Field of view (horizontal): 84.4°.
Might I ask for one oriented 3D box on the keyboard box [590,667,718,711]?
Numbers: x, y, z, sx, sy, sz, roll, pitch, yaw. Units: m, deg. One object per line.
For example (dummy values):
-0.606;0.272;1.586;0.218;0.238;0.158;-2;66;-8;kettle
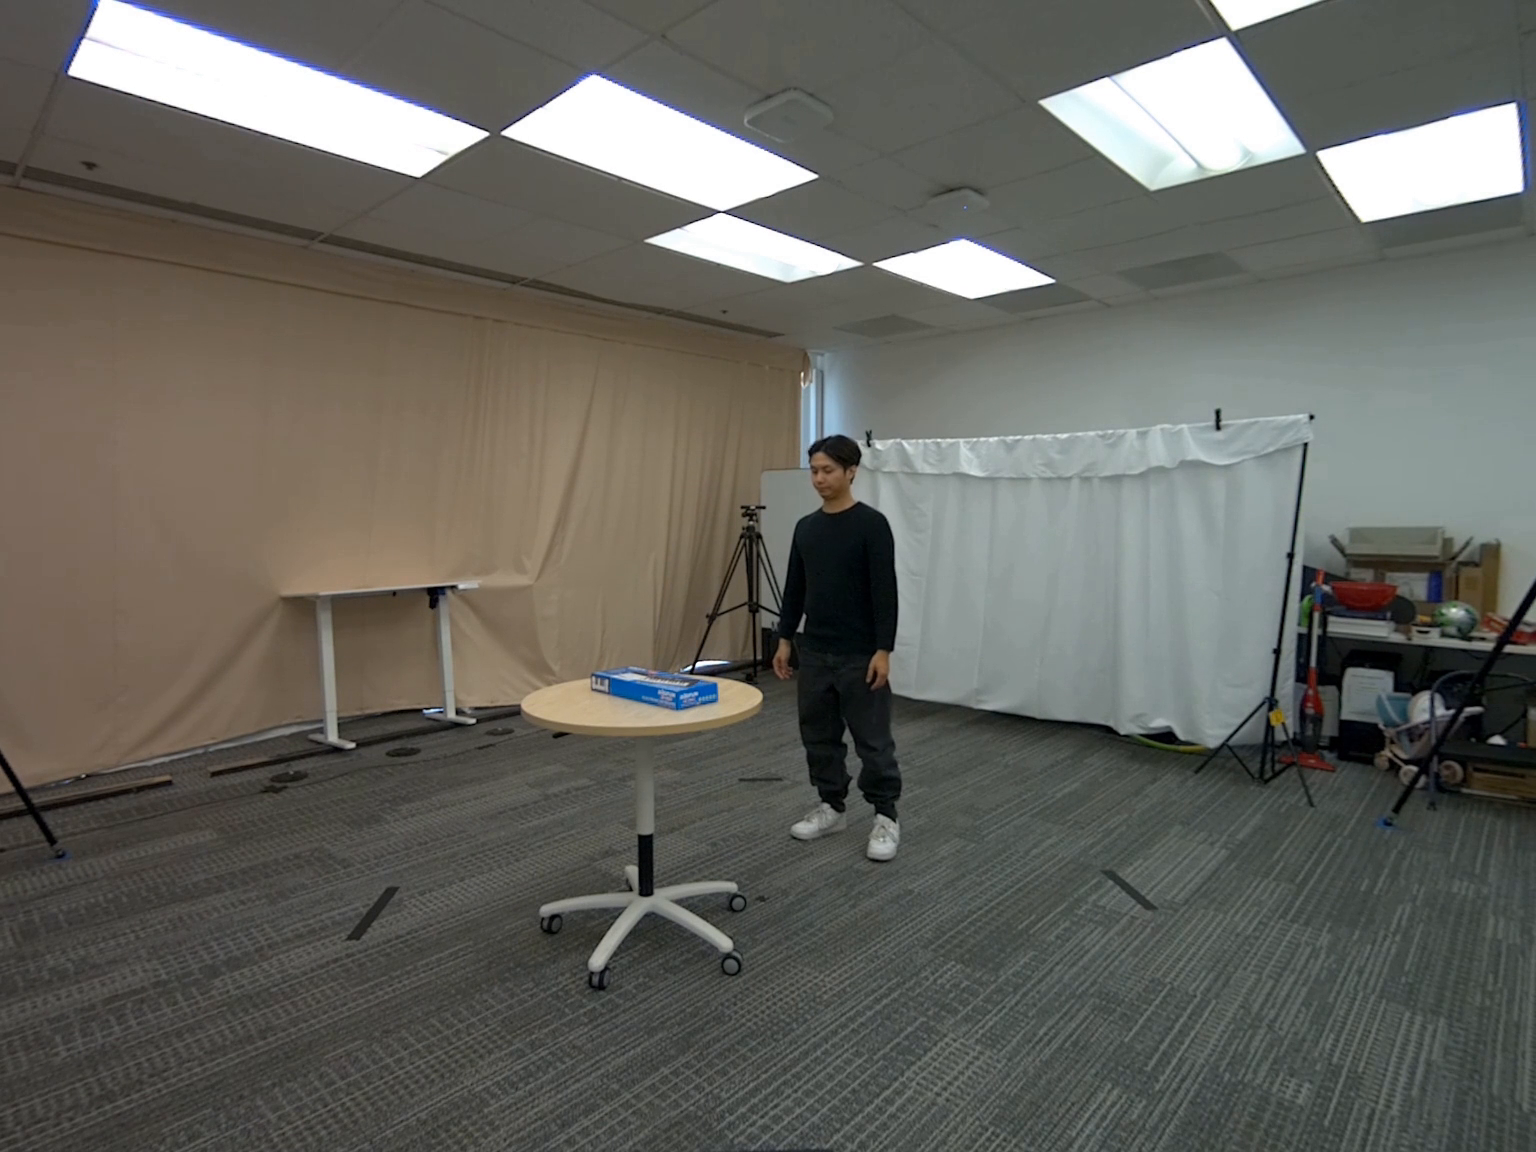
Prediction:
-0.370;0.356;2.708;0.451;0.059;0.170;3;6;44;keyboard box
